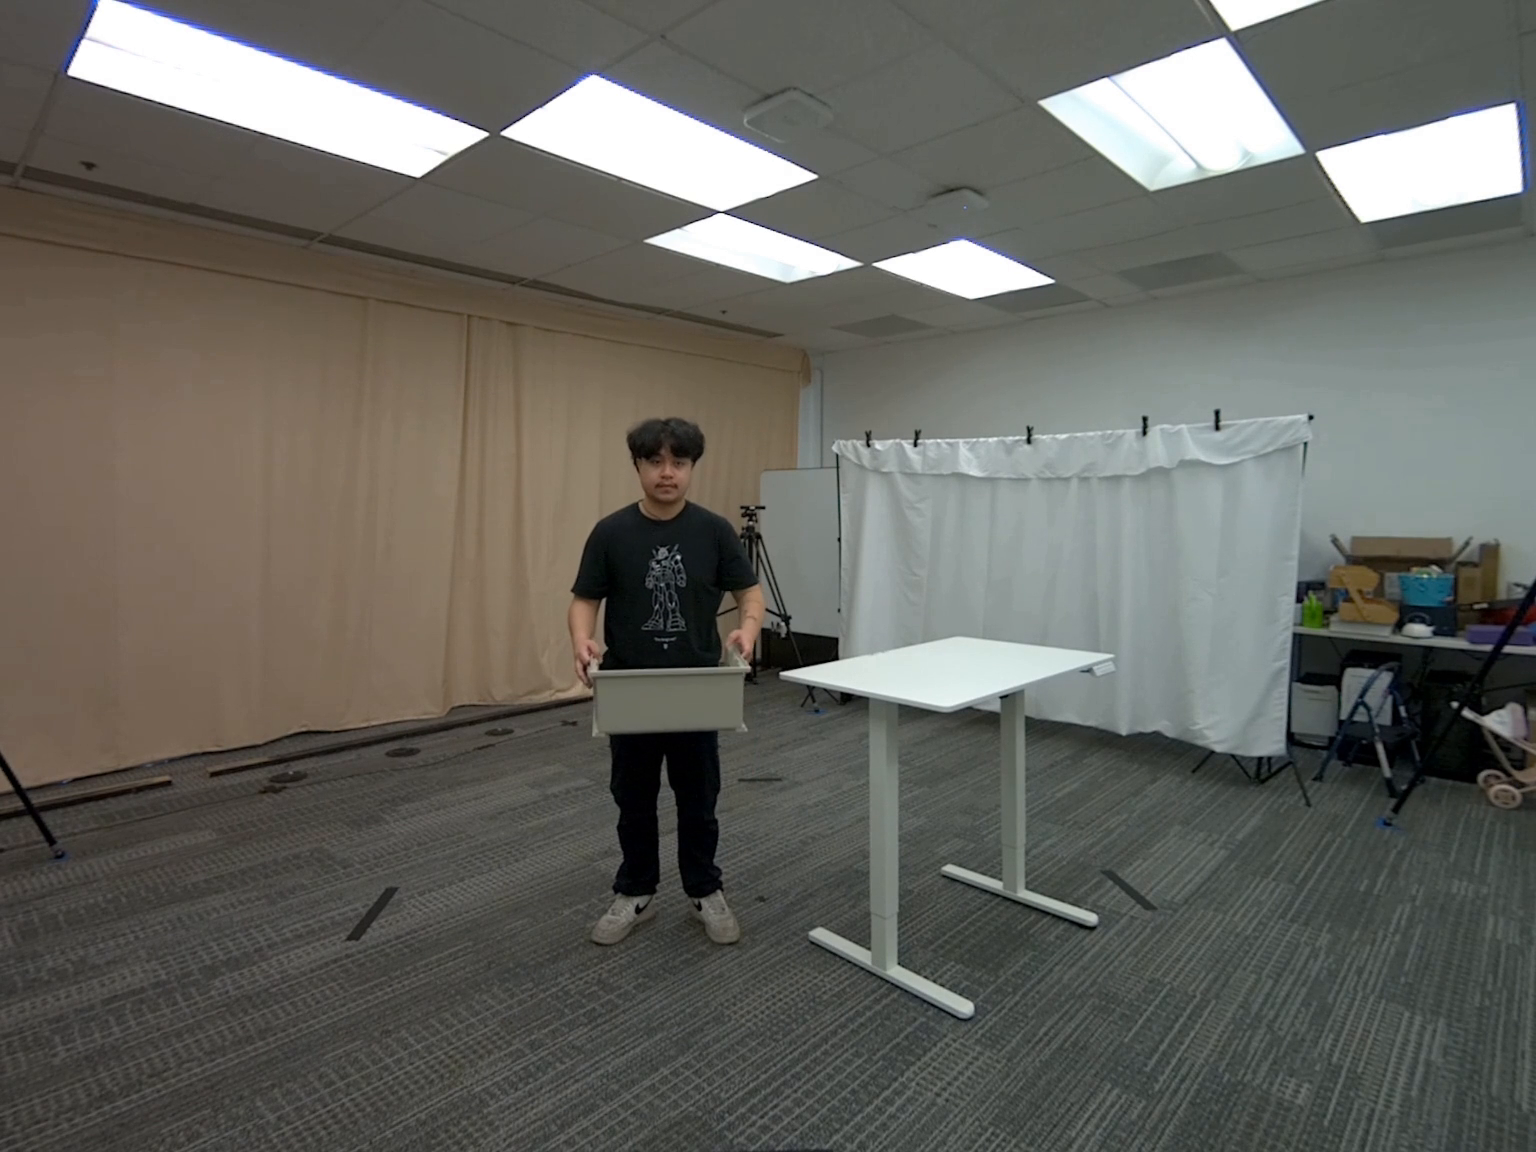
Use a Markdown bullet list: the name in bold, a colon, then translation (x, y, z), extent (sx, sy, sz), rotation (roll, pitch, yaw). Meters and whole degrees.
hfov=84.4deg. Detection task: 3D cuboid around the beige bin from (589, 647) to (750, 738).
- **beige bin**: translation (-0.295, 0.310, 2.399), extent (0.418, 0.188, 0.383), rotation (-2, 8, -11)
